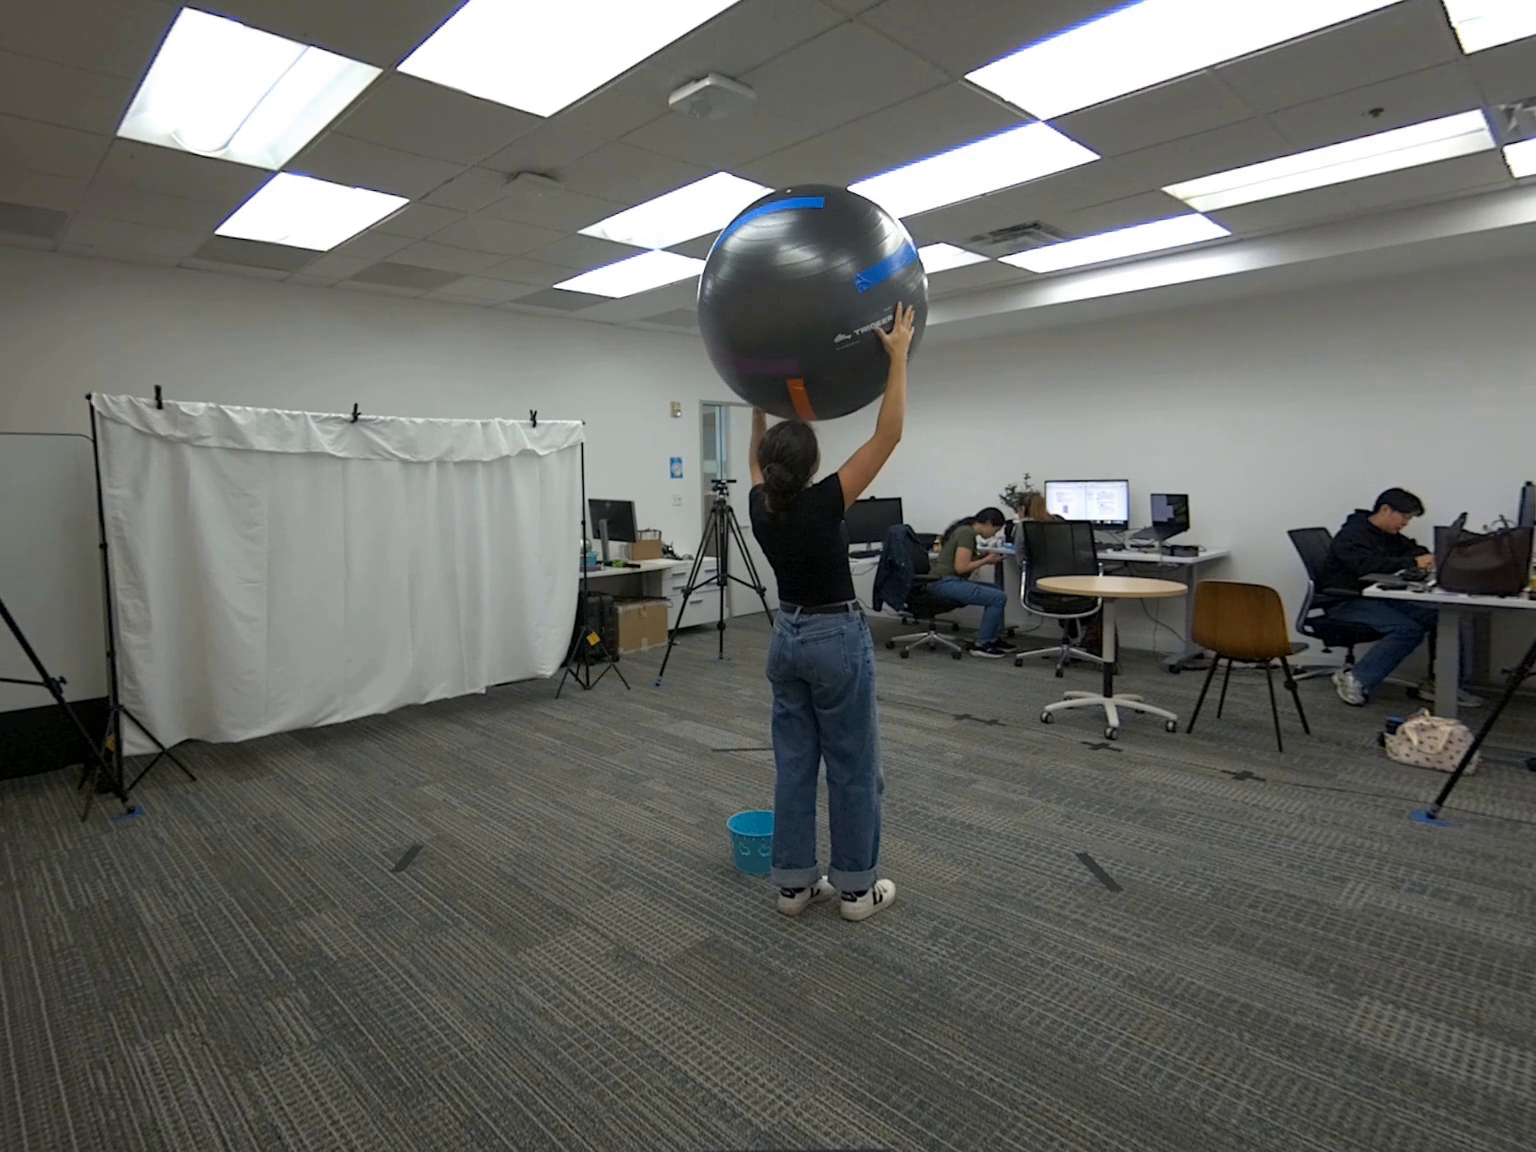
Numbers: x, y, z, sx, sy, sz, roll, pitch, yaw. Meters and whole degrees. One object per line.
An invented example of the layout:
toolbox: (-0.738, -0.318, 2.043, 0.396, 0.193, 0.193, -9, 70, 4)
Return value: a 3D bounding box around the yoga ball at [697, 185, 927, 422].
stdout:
yoga ball: (0.144, -0.884, 2.832, 0.757, 0.755, 0.762, -1, 5, -2)
